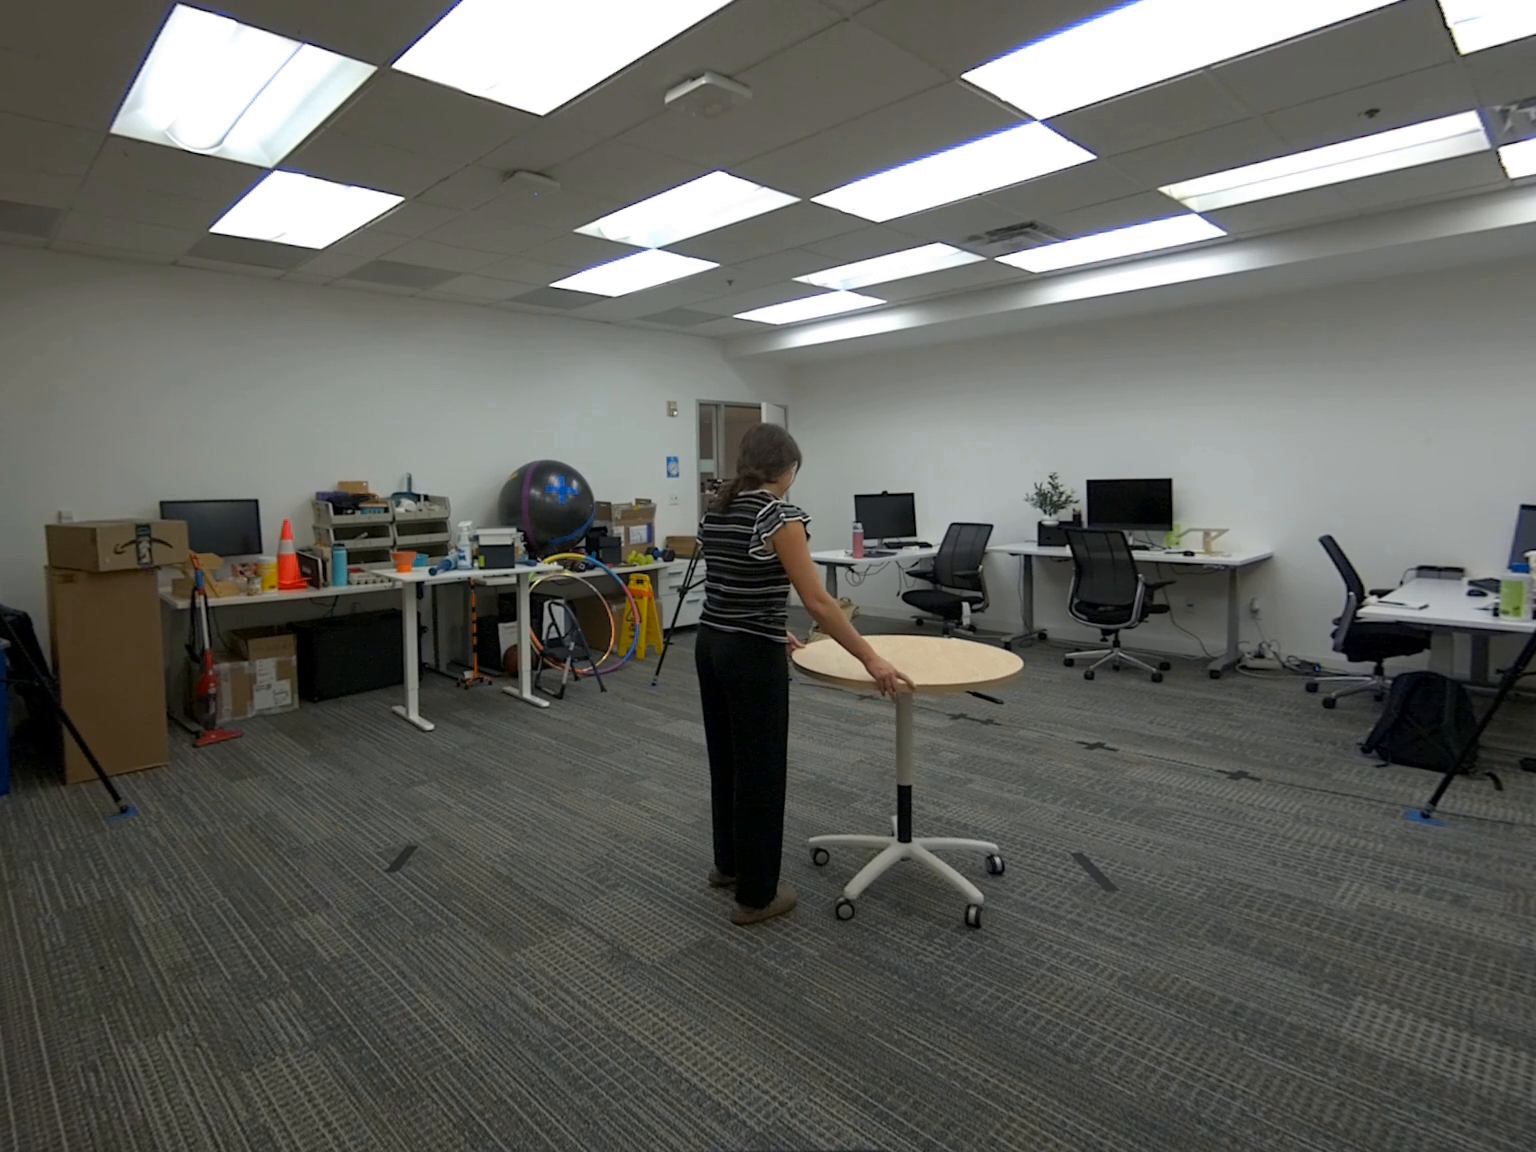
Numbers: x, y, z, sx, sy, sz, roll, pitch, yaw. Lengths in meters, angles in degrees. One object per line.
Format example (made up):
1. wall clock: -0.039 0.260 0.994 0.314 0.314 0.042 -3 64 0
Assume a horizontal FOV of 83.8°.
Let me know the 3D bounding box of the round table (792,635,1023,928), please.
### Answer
1. round table: 0.478 0.659 2.934 0.784 0.783 0.789 -2 5 -2
